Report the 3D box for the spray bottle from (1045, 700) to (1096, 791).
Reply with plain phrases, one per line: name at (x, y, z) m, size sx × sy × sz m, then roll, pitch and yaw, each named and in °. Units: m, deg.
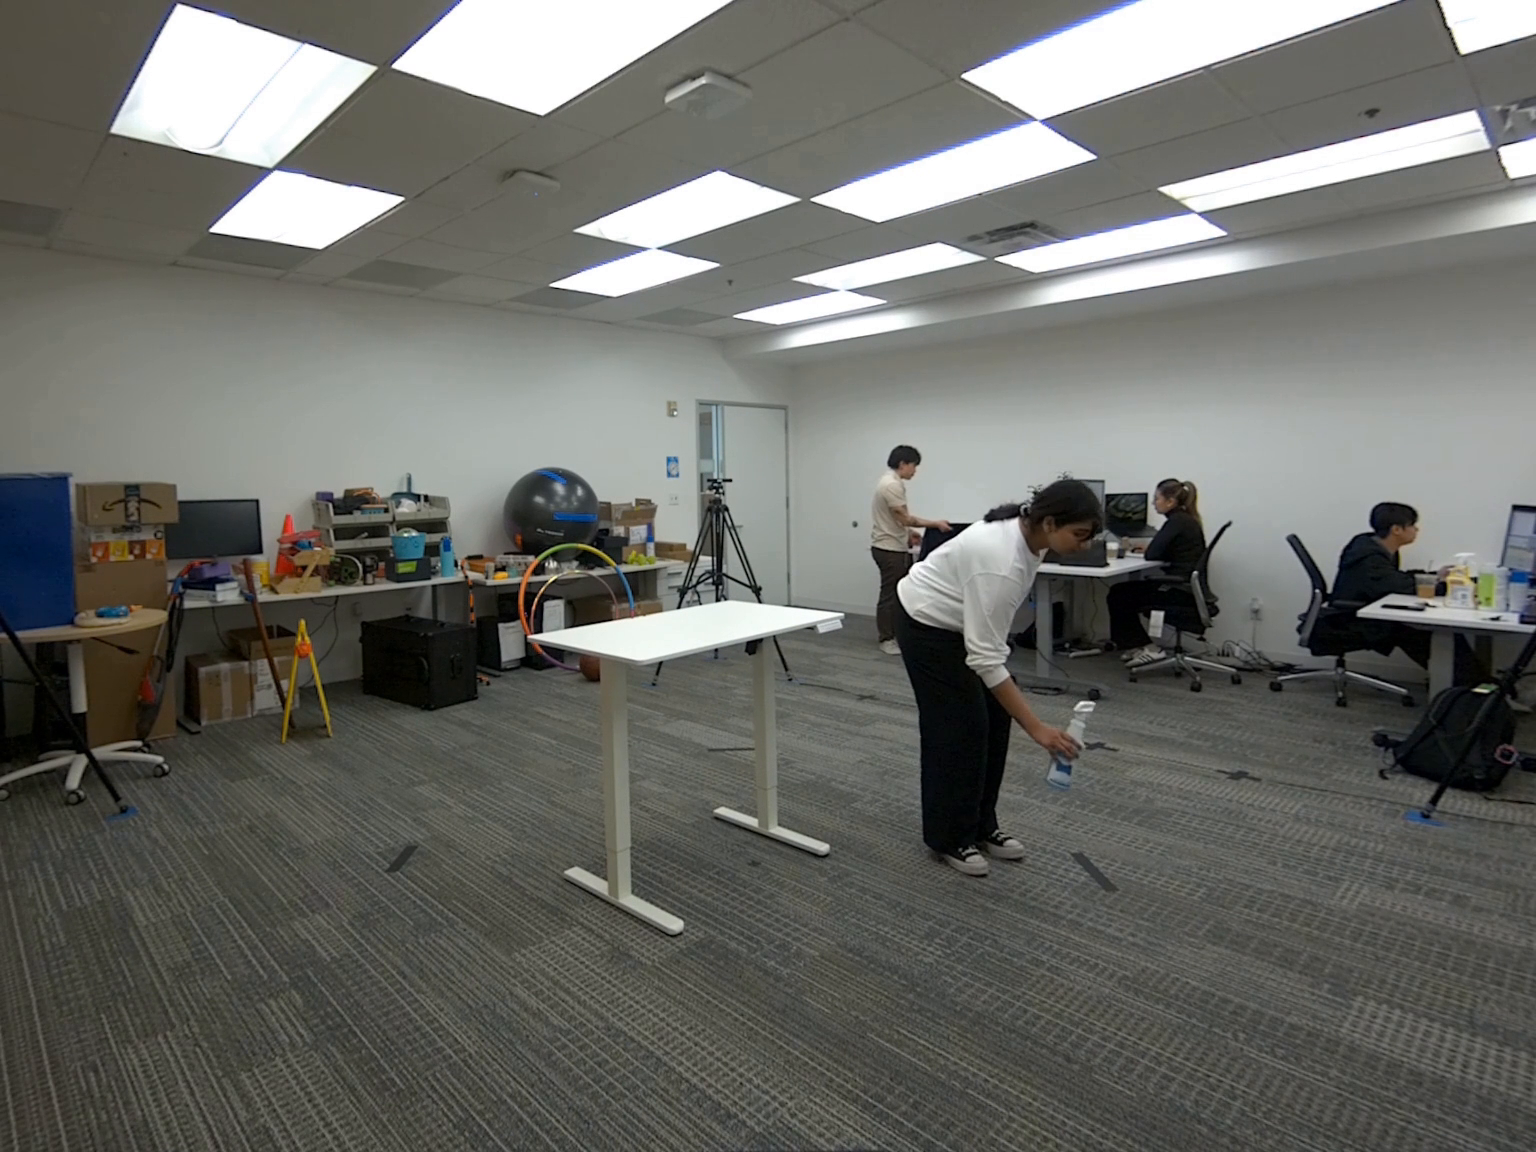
spray bottle at (0.980, 0.547, 2.780) m, size 0.089 × 0.296 × 0.088 m, roll 14°, pitch 9°, yaw -9°
